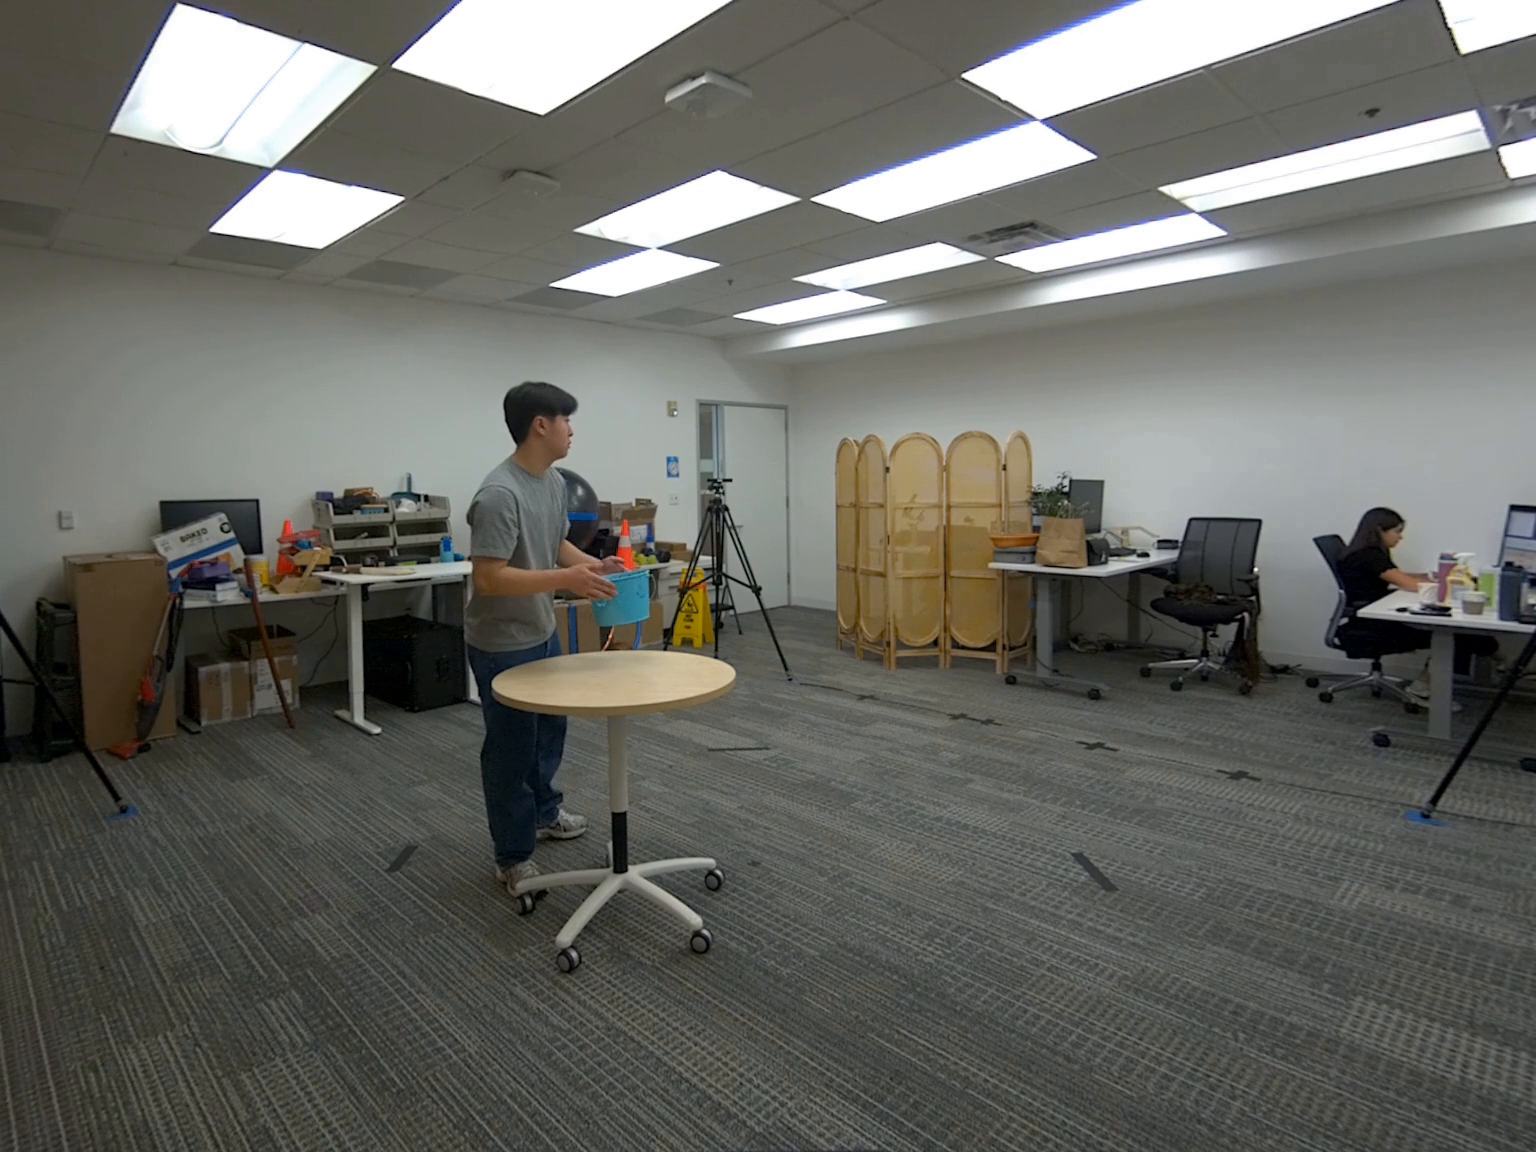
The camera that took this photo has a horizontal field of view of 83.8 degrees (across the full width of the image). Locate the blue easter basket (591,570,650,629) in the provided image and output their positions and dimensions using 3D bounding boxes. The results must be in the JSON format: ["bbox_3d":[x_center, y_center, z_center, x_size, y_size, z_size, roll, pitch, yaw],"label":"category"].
[{"bbox_3d":[-0.503,0.079,2.884,0.243,0.155,0.244,-8,4,-1],"label":"blue easter basket"}]
